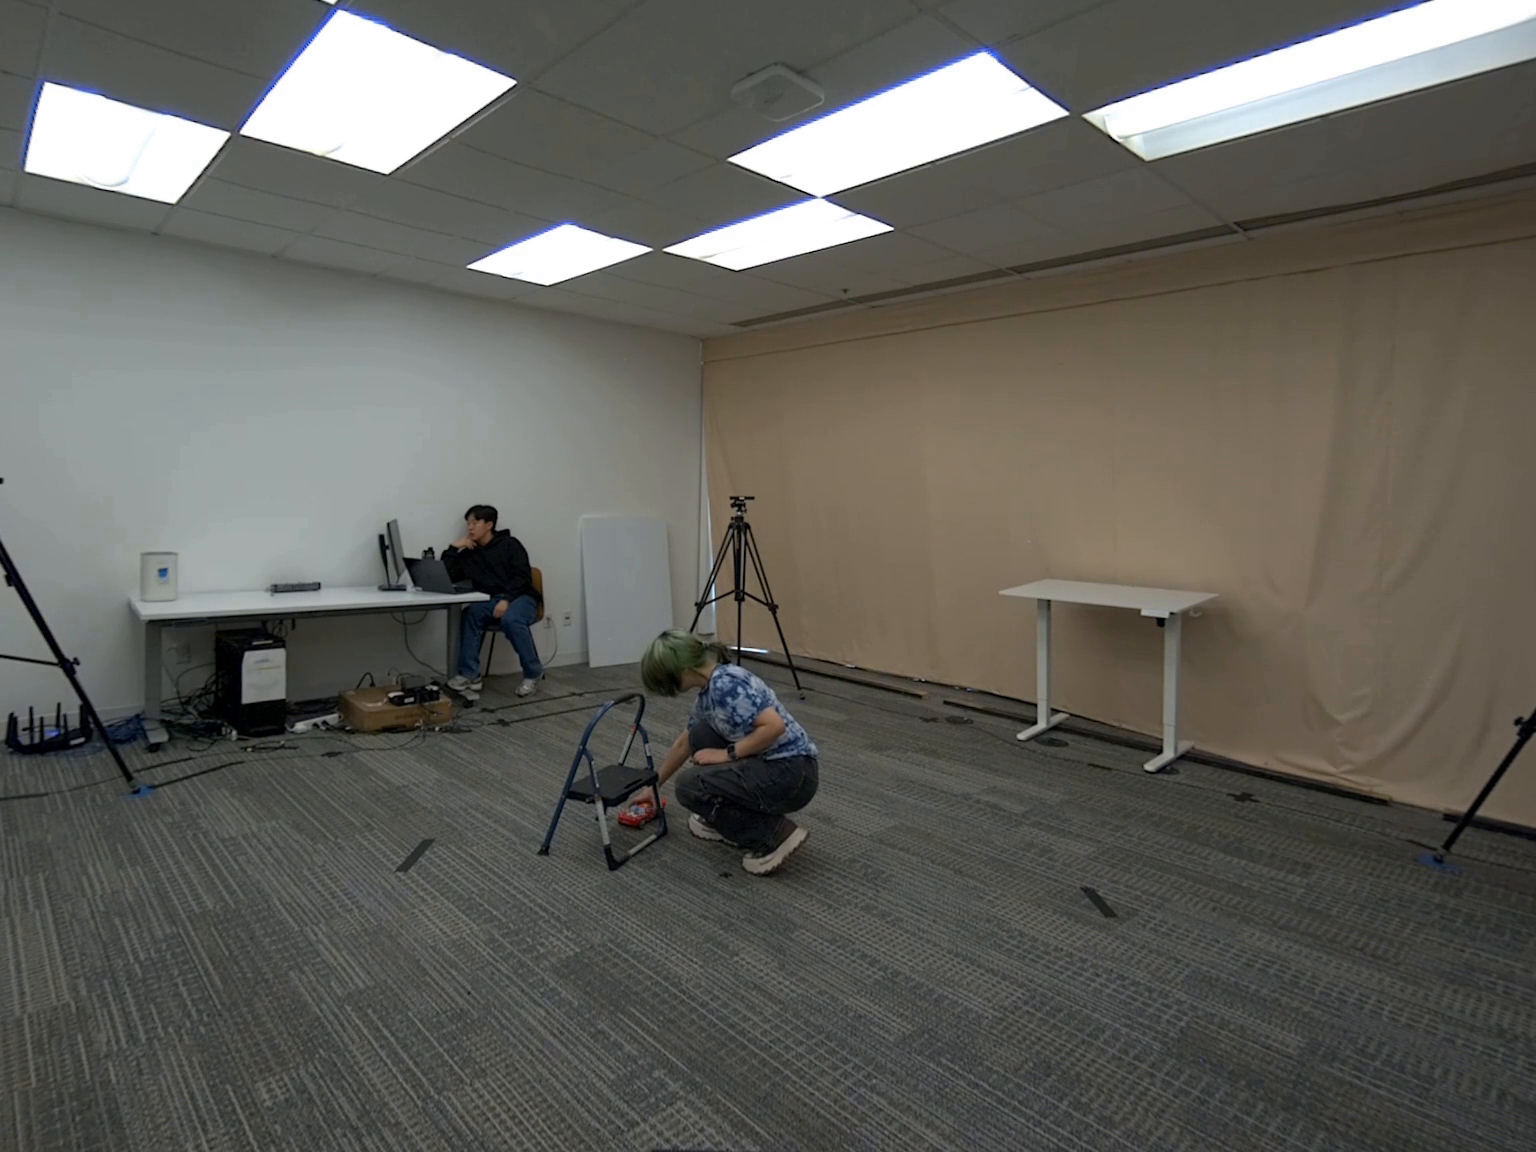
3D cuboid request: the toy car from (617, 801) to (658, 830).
[{"bbox_3d":[-0.541,1.013,3.630,0.133,0.082,0.252,4,17,26],"label":"toy car"}]
